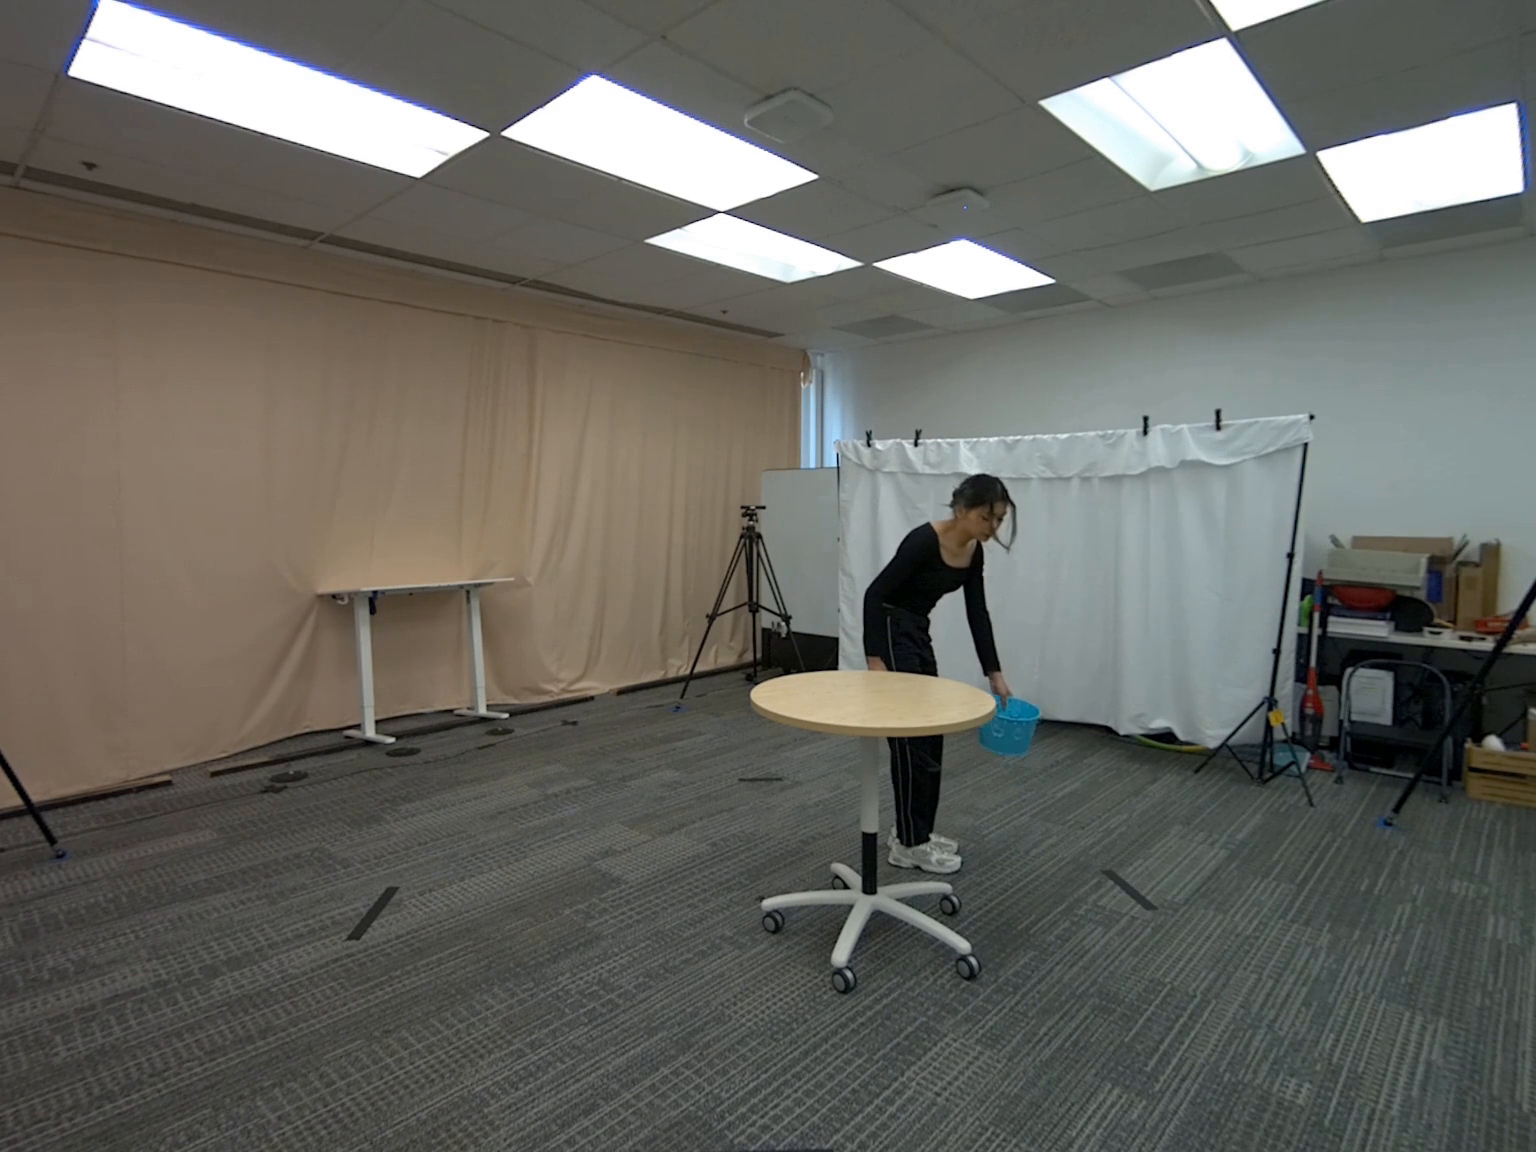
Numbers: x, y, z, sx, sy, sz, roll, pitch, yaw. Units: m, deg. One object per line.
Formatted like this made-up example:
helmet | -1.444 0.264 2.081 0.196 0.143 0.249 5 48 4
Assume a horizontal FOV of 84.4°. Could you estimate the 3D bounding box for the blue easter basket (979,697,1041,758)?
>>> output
blue easter basket | 0.903 0.566 3.145 0.243 0.155 0.246 2 12 -2
